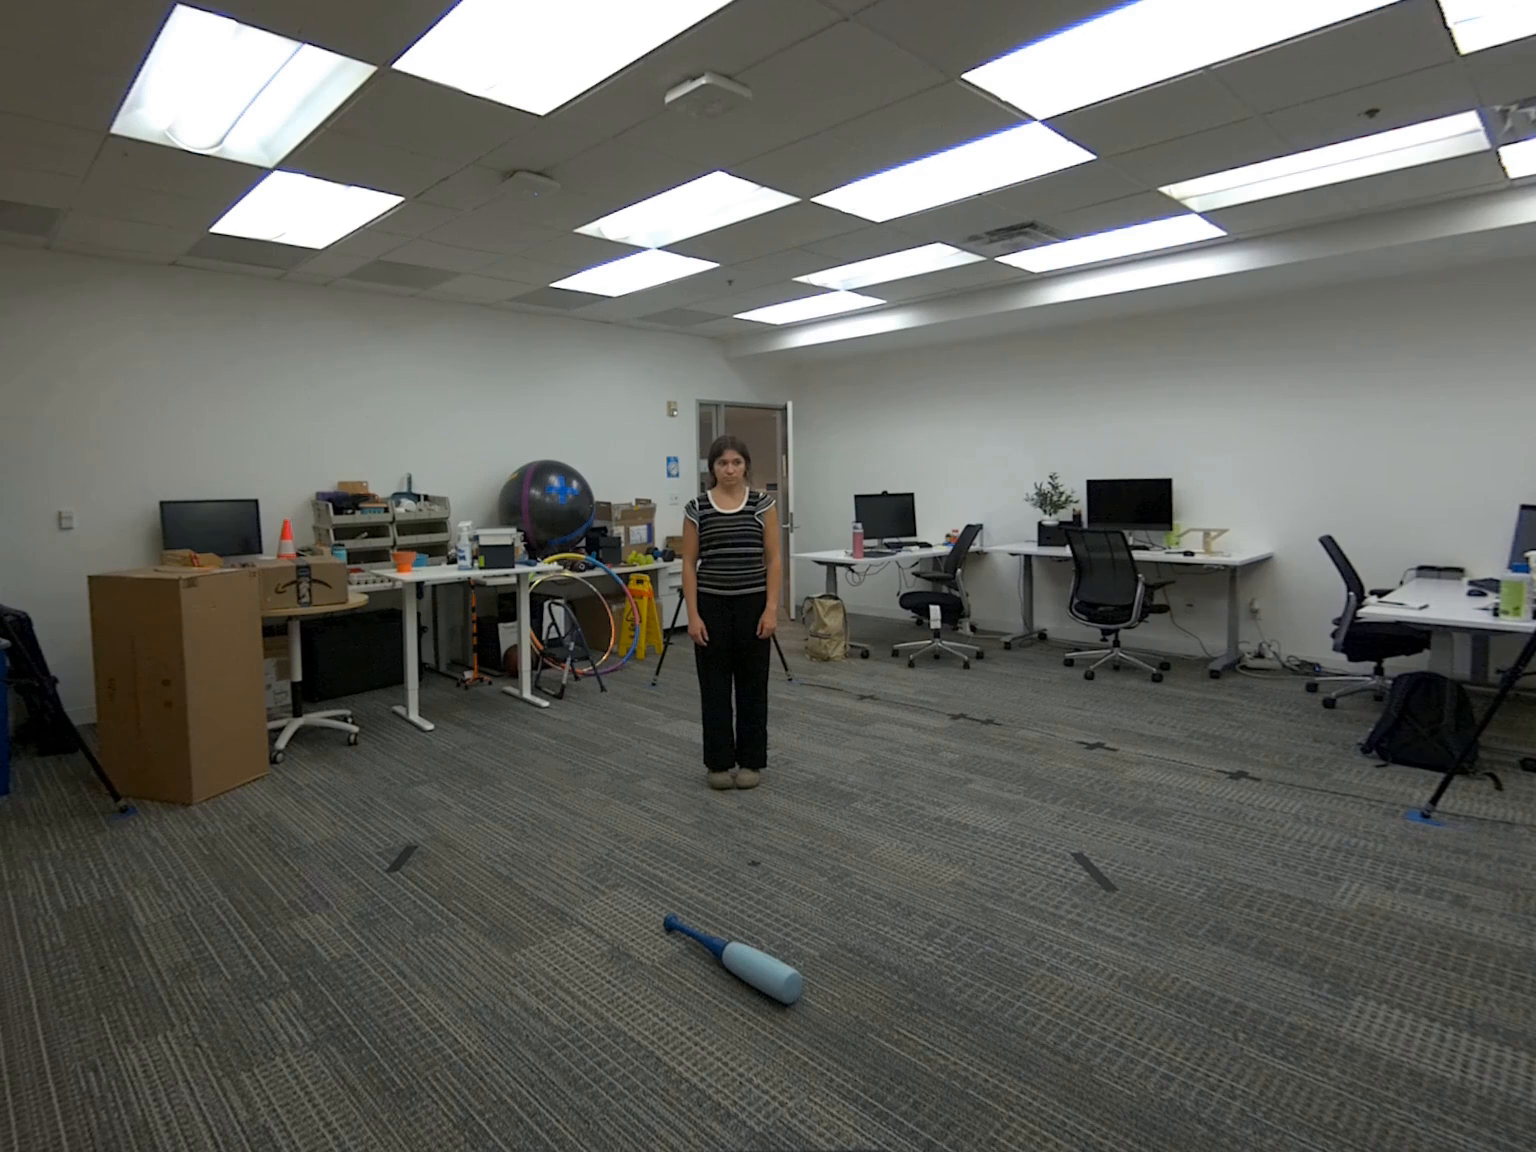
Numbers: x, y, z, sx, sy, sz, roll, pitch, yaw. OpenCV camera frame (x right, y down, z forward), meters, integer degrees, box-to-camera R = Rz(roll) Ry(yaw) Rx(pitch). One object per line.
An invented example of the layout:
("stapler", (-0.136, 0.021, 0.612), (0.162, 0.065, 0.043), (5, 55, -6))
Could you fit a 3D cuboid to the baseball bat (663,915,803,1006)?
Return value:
("baseball bat", (-0.120, 1.093, 2.459), (0.087, 0.089, 0.559), (-5, 4, -43))
